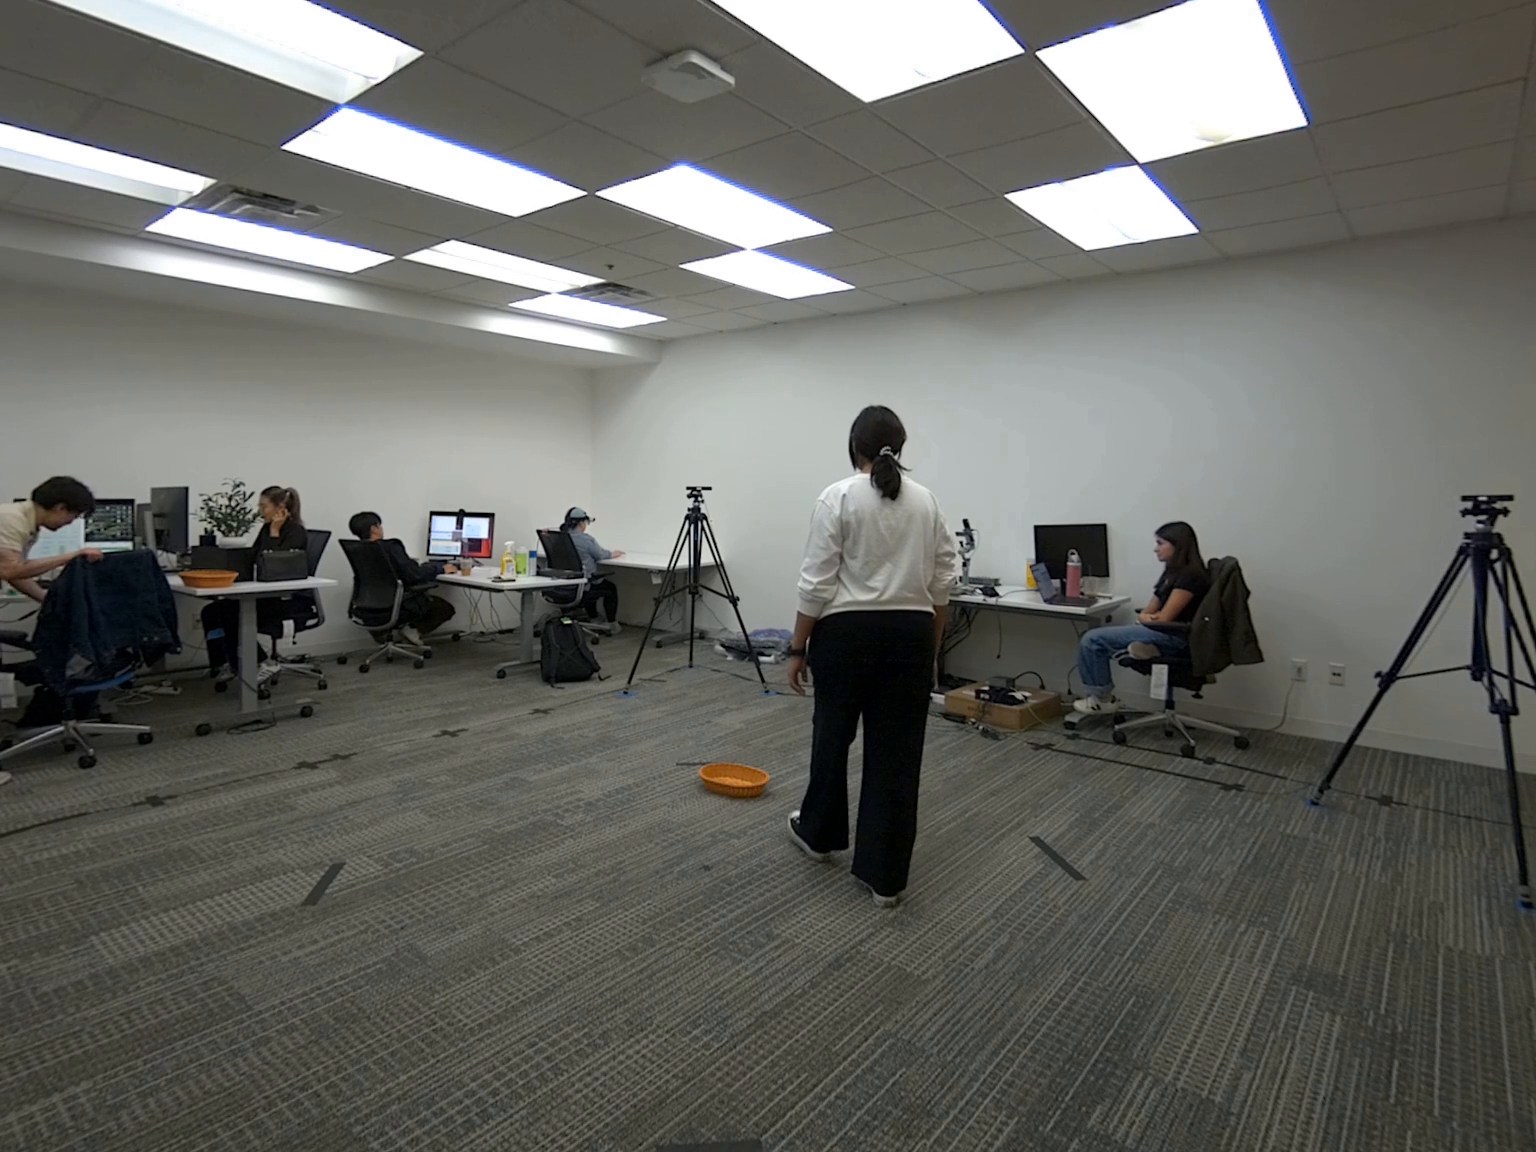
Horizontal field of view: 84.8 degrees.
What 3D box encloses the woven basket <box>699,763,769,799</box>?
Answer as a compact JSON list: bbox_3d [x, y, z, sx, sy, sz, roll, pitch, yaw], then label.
[{"bbox_3d":[-0.161,0.944,3.935,0.362,0.073,0.246,5,8,34],"label":"woven basket"}]
